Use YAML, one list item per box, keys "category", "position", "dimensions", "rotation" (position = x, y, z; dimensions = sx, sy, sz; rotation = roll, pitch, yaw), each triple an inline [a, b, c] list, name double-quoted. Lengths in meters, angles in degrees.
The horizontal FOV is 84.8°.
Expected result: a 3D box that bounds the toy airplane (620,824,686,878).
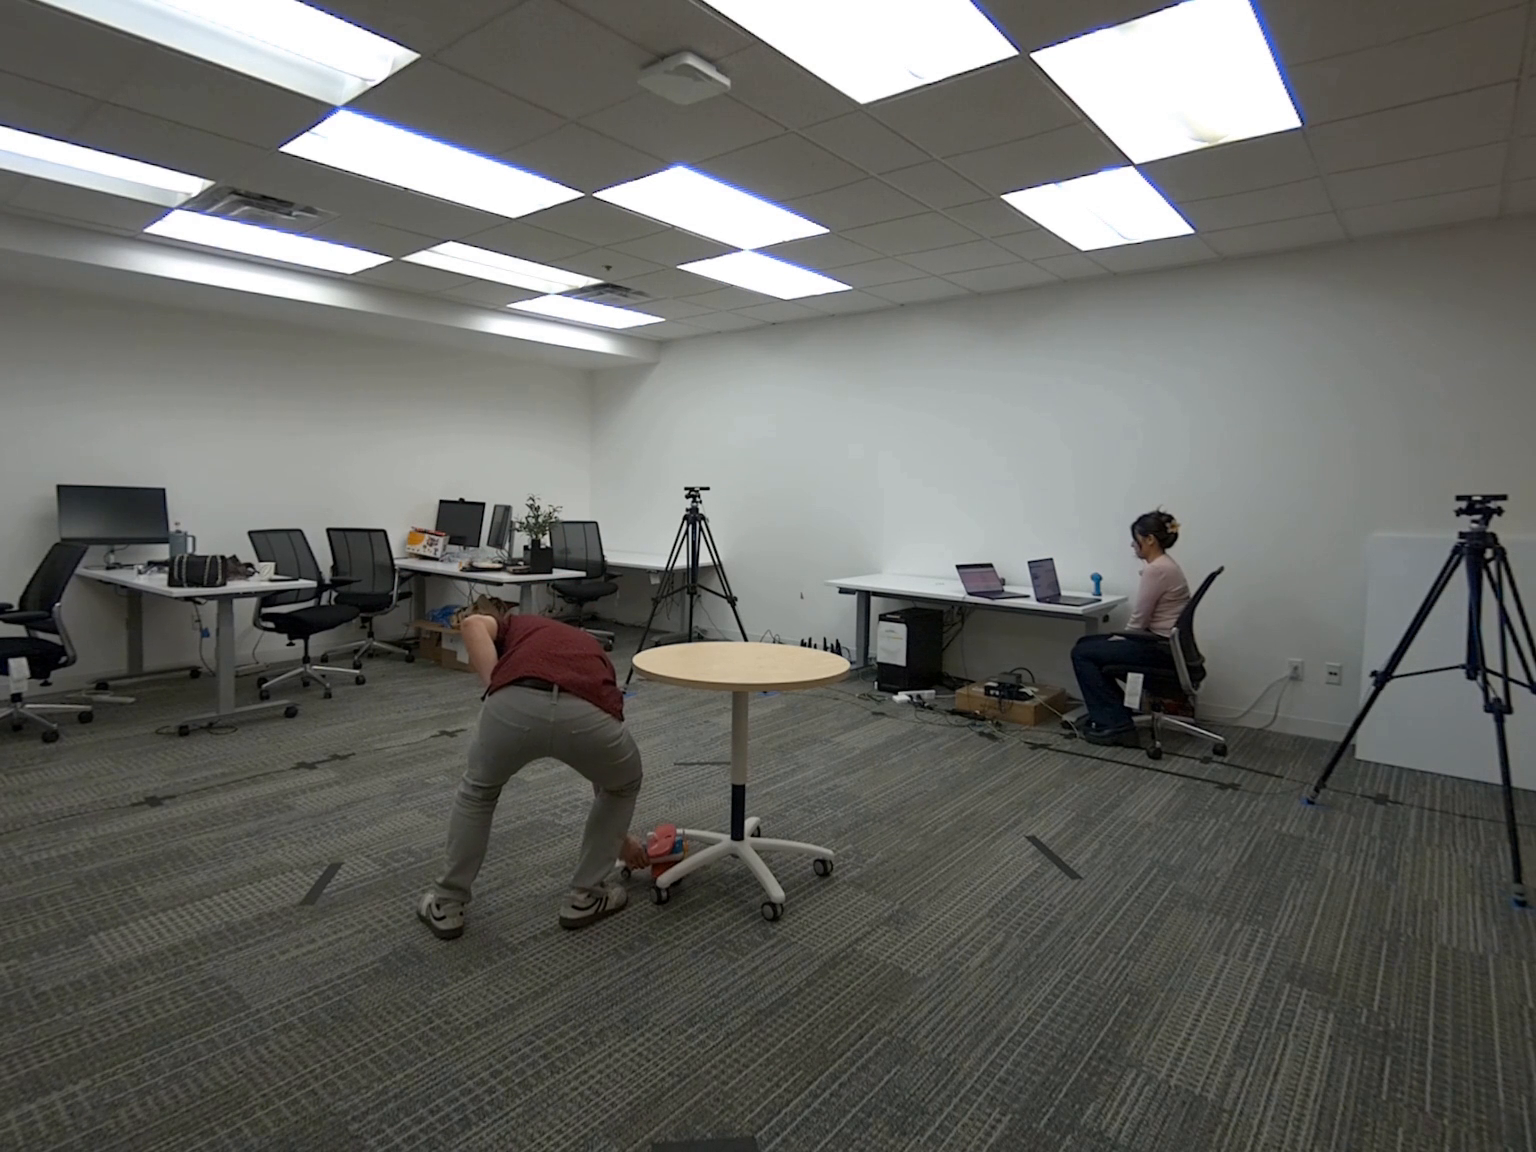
- category: "toy airplane"
  position: [-0.417, 0.998, 3.011]
  dimensions: [0.252, 0.156, 0.258]
  rotation: [0, 6, -27]
